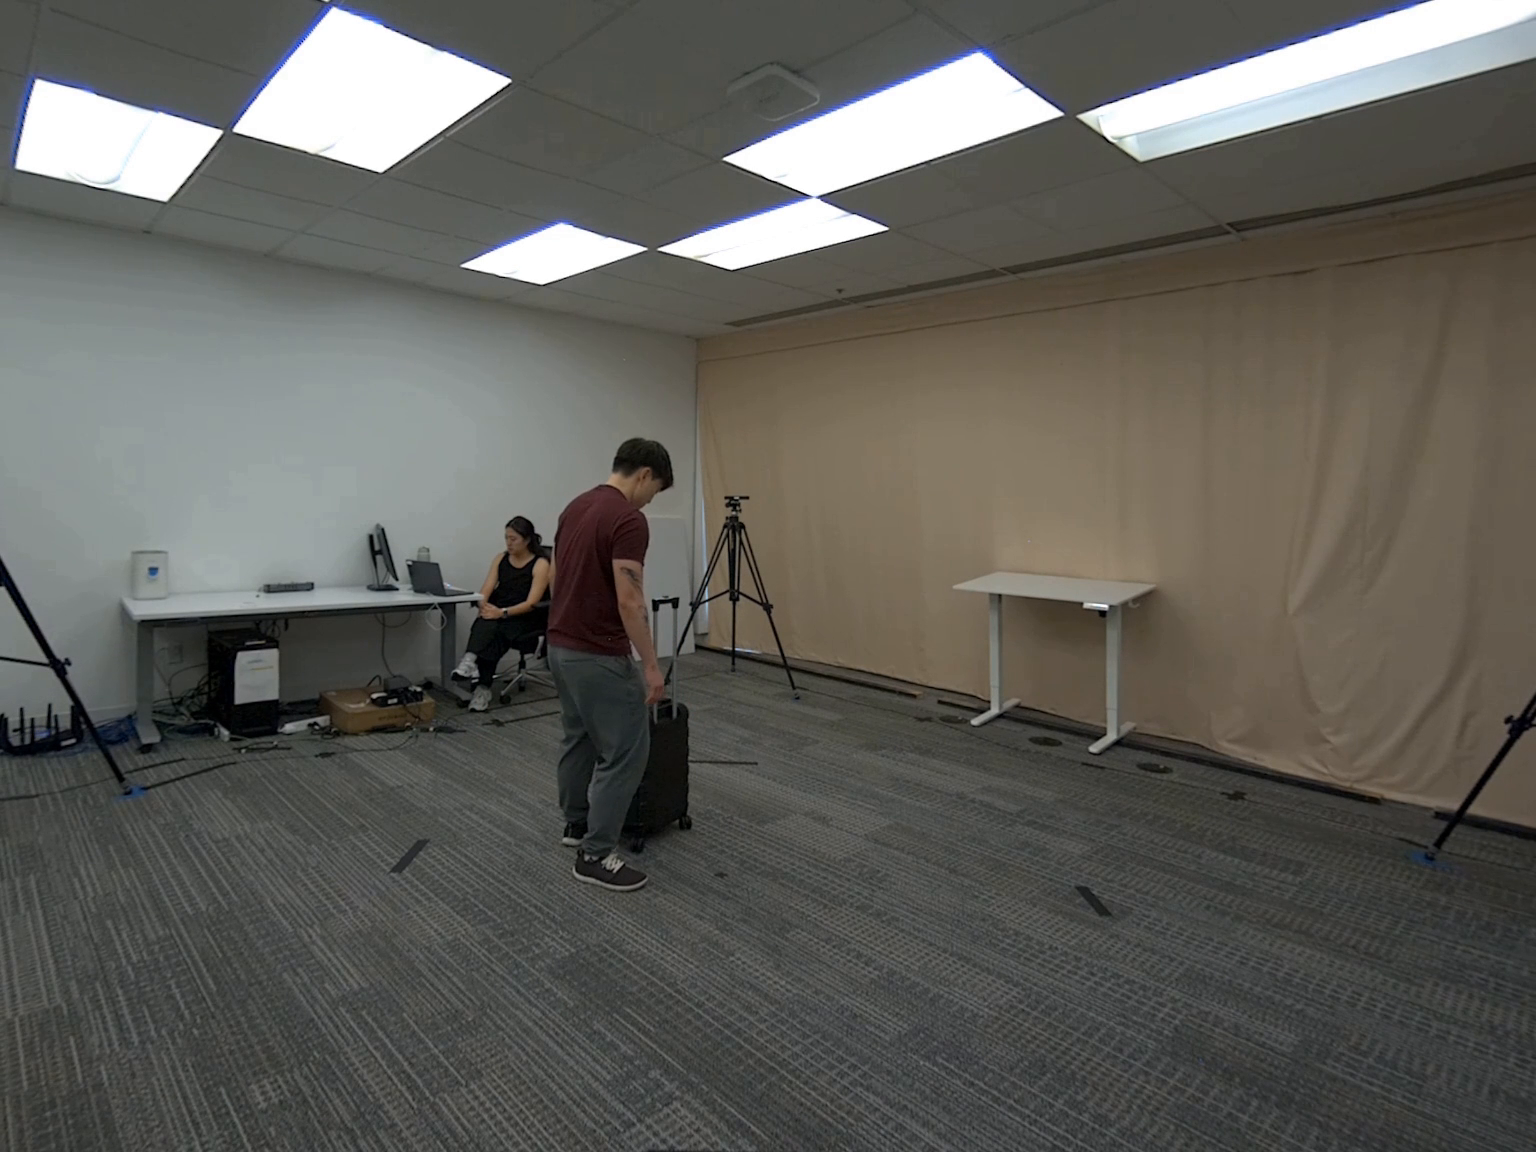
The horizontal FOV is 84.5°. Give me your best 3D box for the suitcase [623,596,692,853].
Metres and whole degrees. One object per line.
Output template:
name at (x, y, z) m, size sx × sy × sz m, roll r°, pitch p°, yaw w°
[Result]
suitcase at (-0.524, 0.585, 3.471) m, size 0.263 × 0.977 × 0.376 m, roll 1°, pitch 2°, yaw 33°
